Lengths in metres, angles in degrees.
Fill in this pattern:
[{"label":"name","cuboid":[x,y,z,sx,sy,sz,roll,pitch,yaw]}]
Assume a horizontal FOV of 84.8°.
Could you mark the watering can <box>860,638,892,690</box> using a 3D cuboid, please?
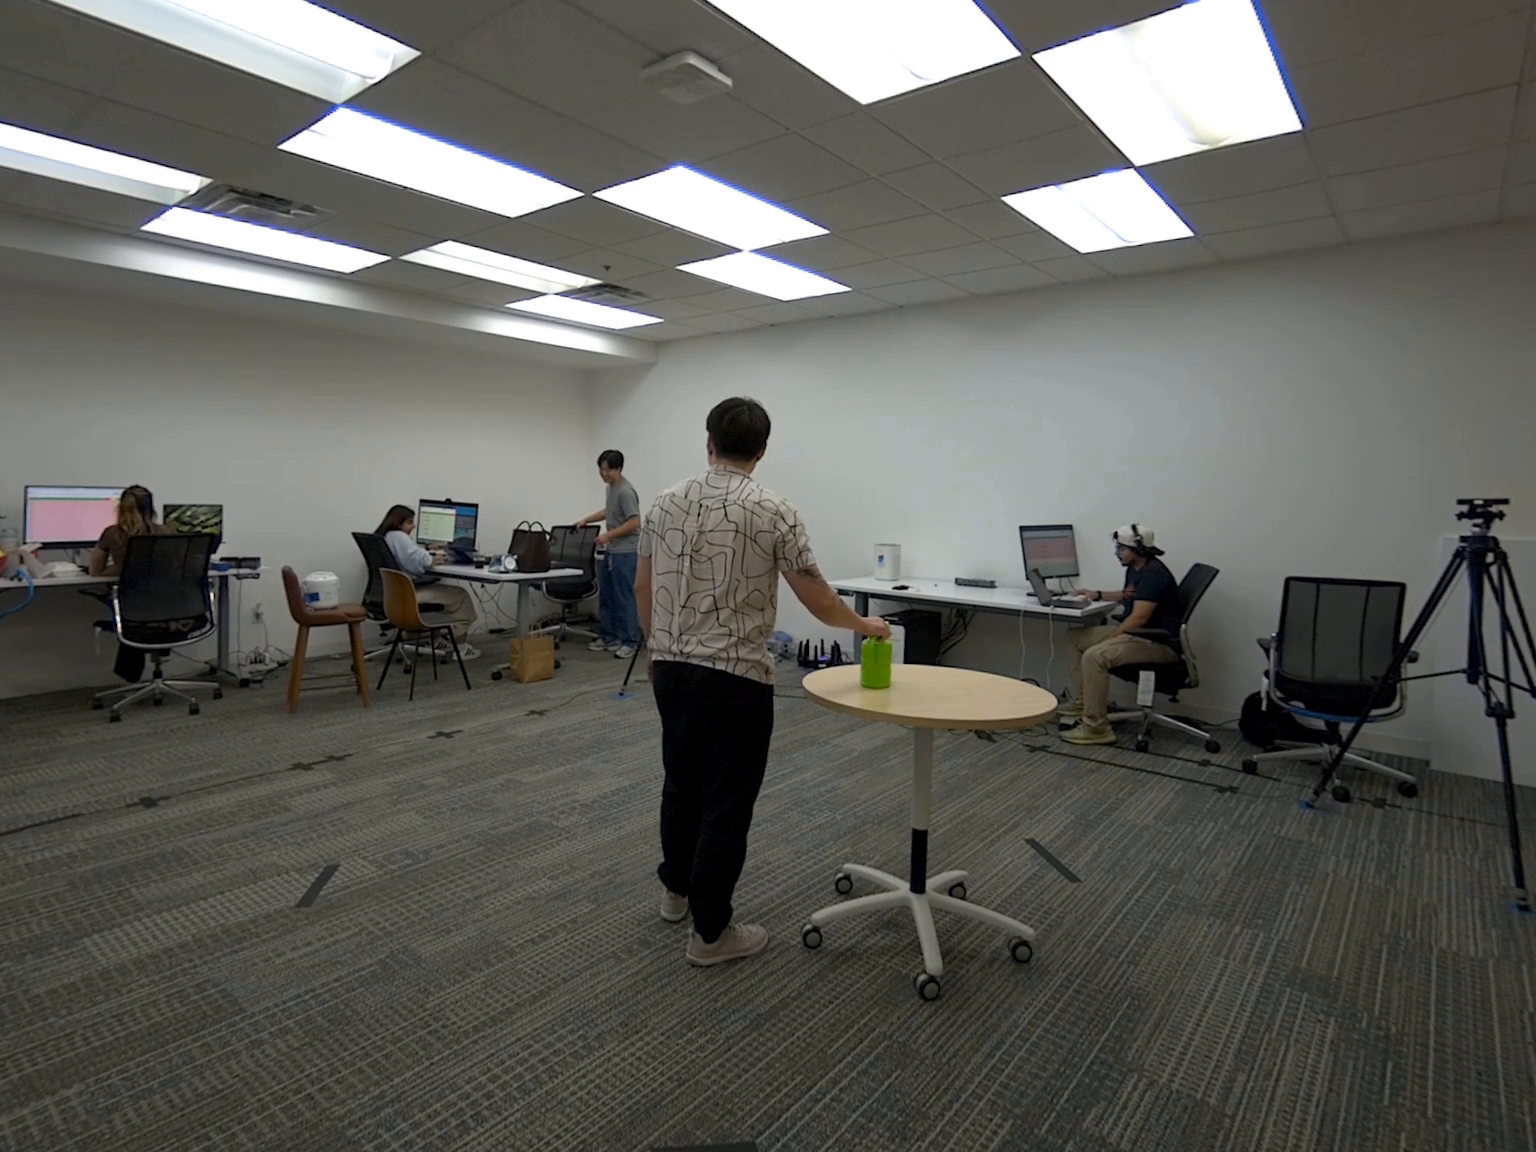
[{"label":"watering can","cuboid":[0.357,0.257,2.700,0.101,0.176,0.271,5,7,30]}]
